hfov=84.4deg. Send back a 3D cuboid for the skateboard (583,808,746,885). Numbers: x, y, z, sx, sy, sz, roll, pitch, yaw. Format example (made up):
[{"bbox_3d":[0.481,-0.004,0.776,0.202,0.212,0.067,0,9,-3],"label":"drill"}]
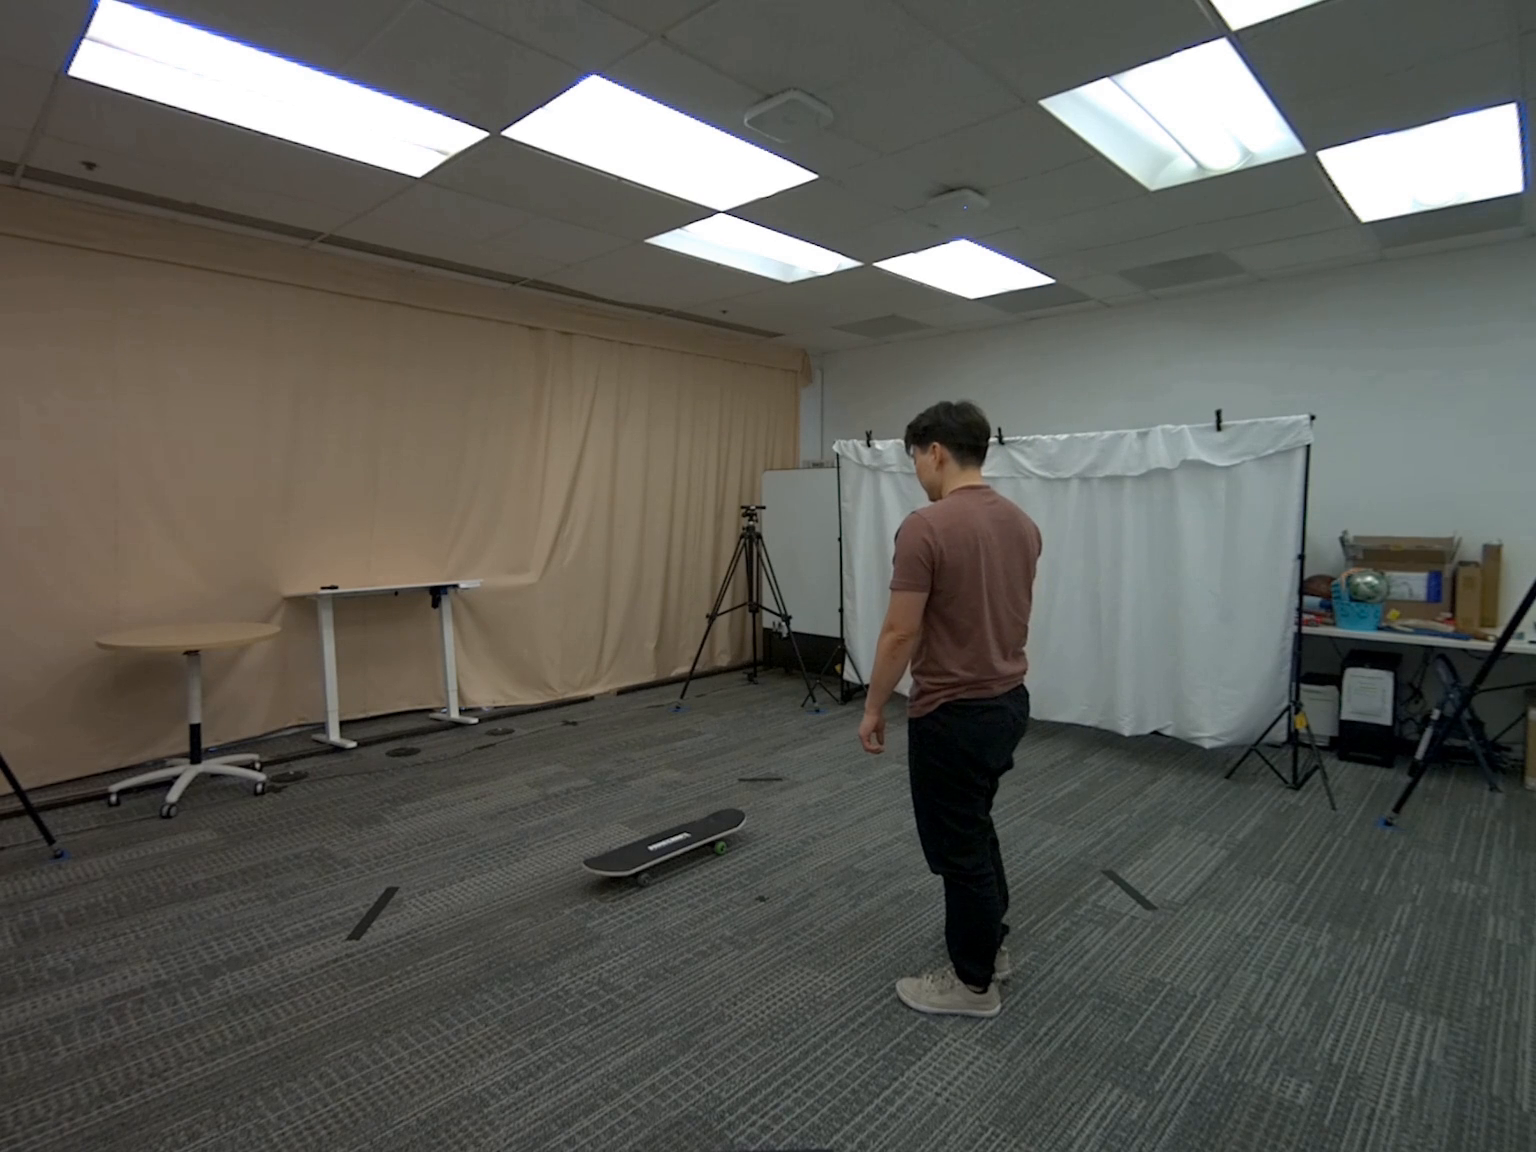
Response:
[{"bbox_3d":[-0.387,1.067,3.279,0.200,0.110,0.761,2,5,44],"label":"skateboard"}]
